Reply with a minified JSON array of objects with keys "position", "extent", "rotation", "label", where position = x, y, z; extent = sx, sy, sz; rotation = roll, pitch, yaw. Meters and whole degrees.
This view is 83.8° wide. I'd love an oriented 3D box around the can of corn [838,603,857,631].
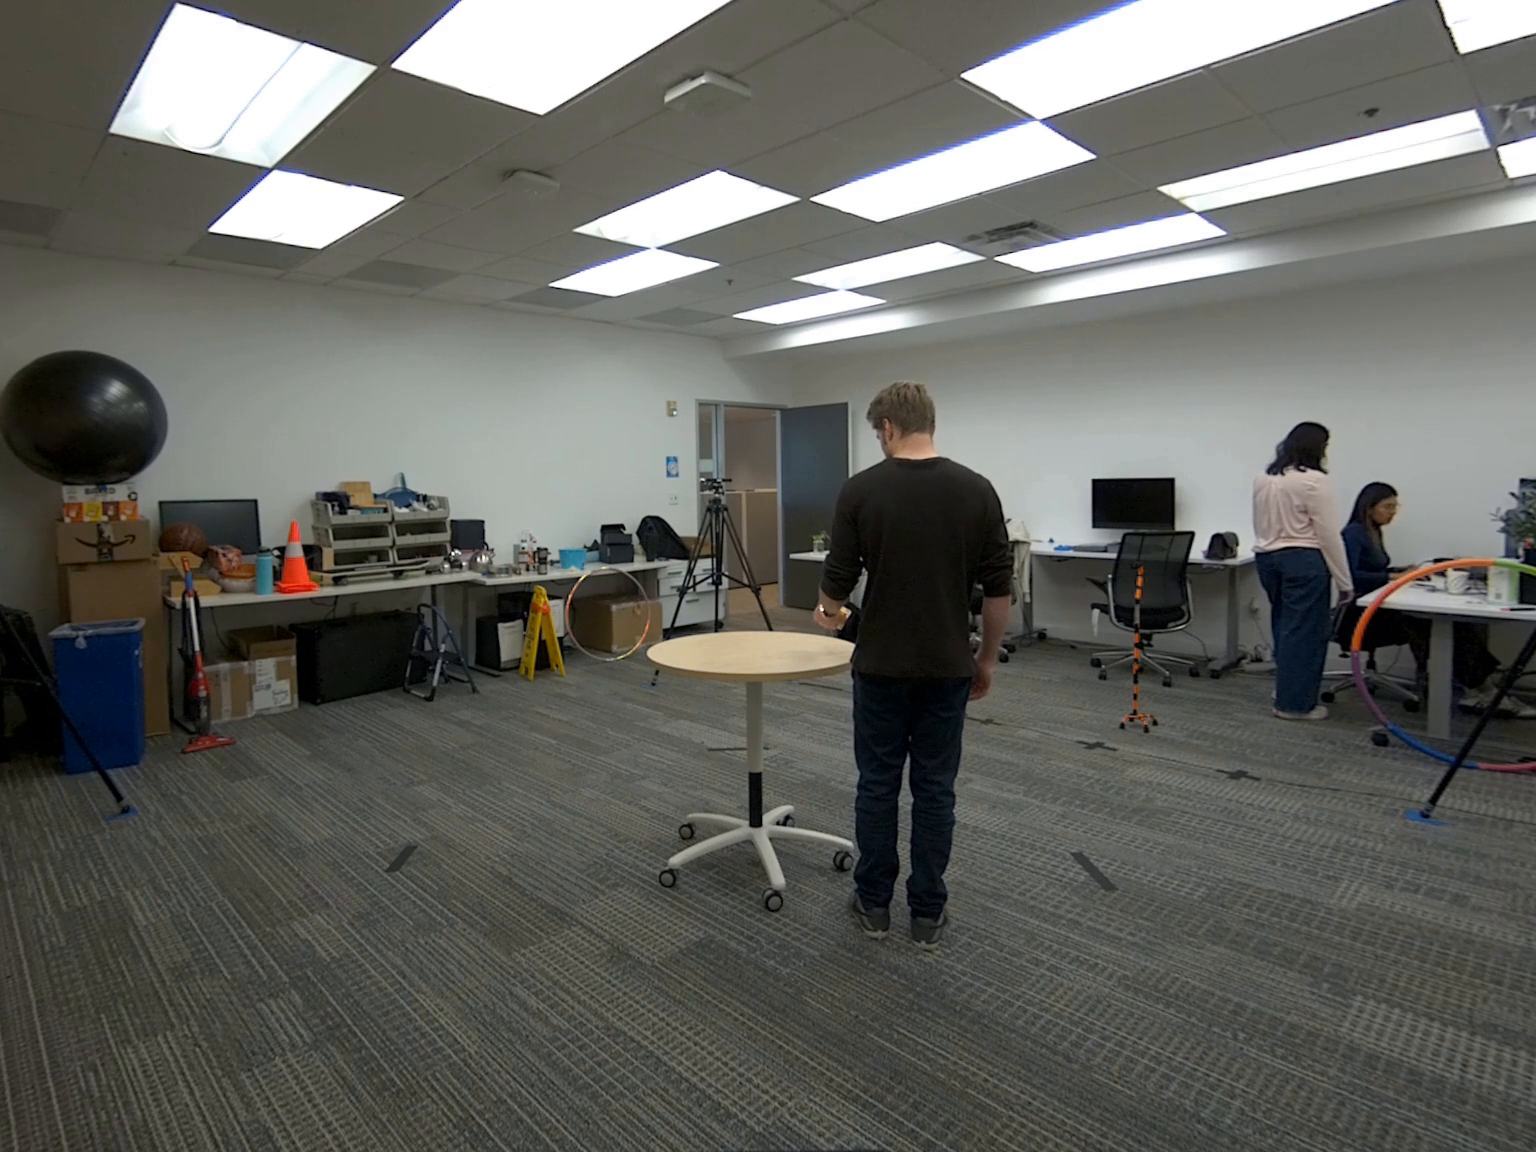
[{"position":[0.236,0.124,2.968],"extent":[0.112,0.074,0.074],"rotation":[24,7,4],"label":"can of corn"}]
